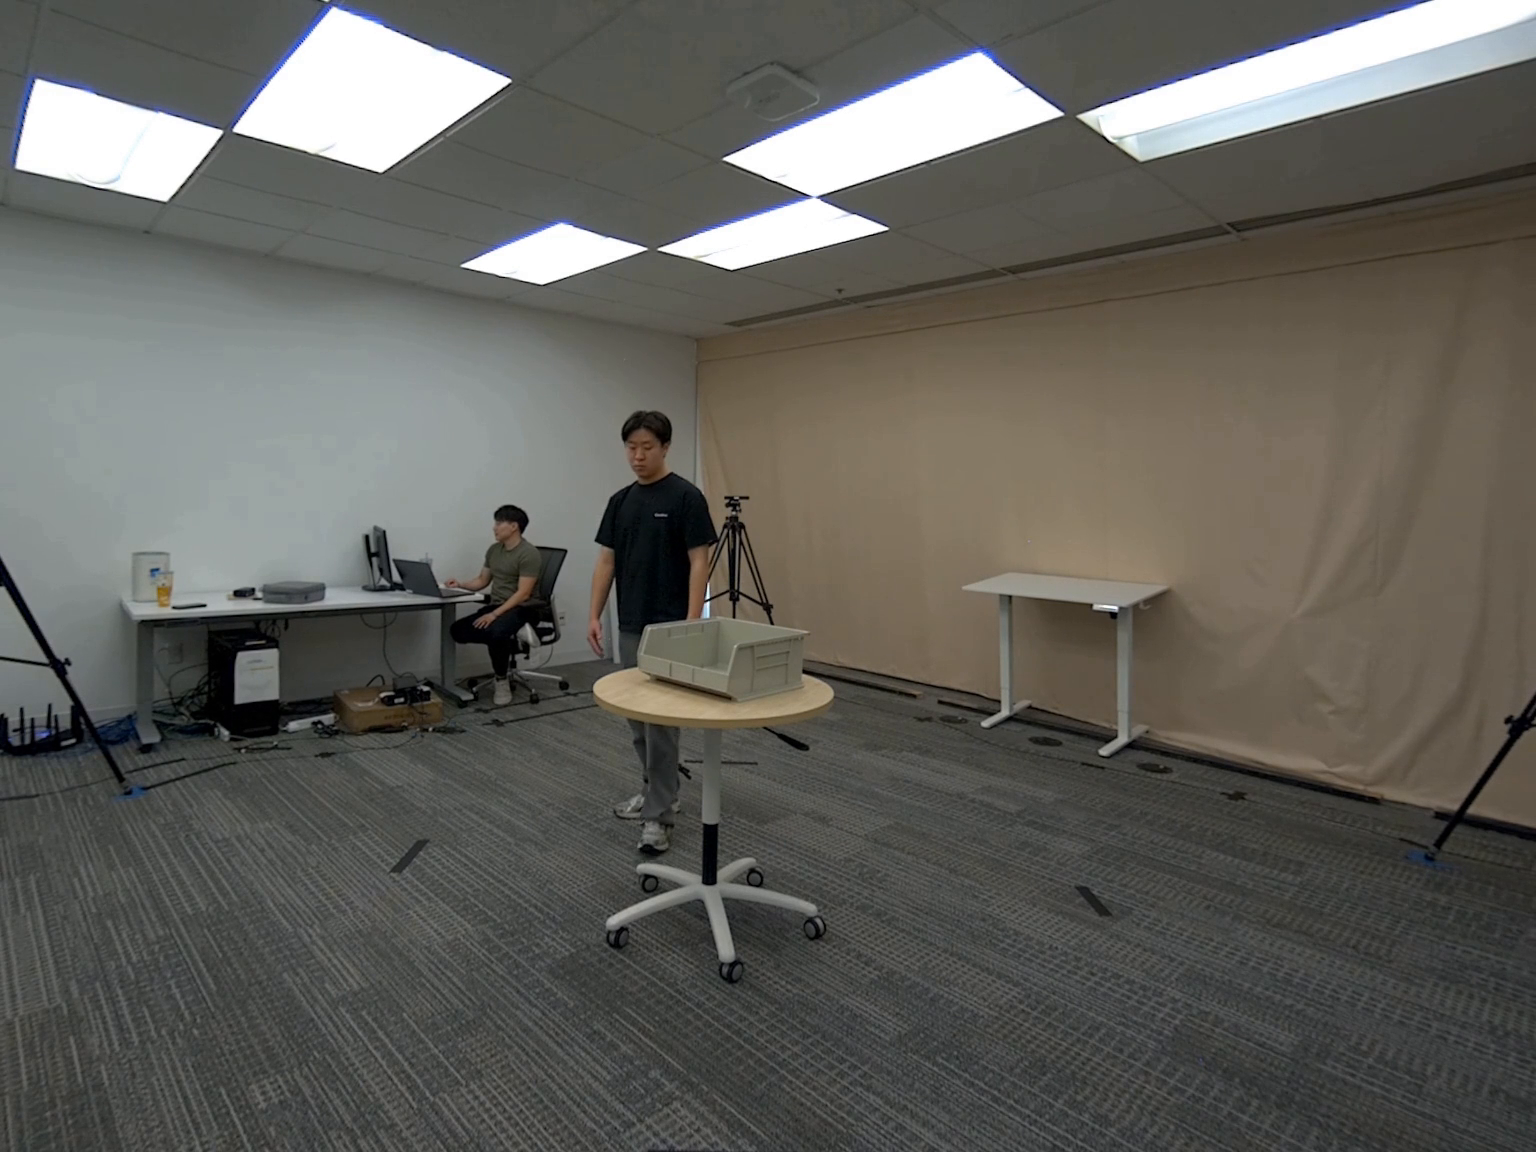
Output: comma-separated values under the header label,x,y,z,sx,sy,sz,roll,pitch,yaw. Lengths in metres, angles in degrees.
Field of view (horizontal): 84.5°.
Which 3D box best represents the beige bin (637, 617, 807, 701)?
label,x,y,z,sx,sy,sz,roll,pitch,yaw
beige bin,-0.154,0.266,2.738,0.433,0.188,0.368,5,5,42
